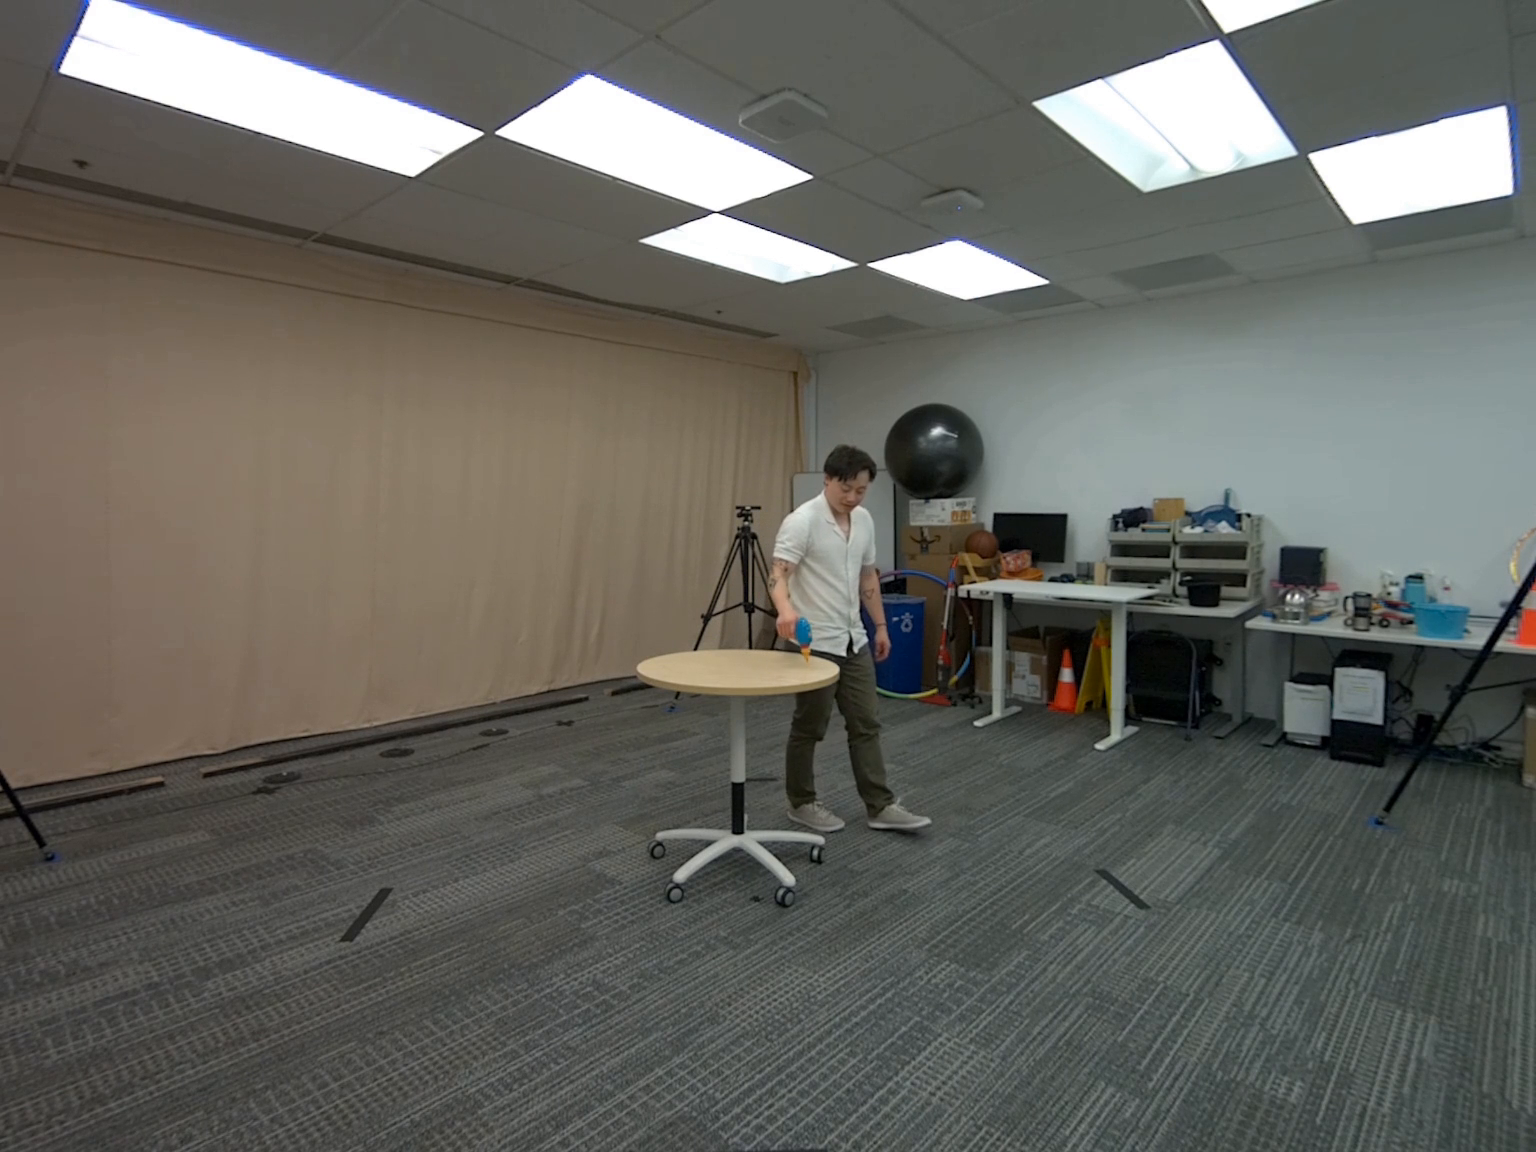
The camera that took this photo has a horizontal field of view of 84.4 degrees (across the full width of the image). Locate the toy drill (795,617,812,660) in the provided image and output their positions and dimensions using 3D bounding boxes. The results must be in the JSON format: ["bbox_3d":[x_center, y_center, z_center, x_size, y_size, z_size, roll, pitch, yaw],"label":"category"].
[{"bbox_3d":[0.111,0.240,3.188,0.059,0.170,0.150,-6,-1,-42],"label":"toy drill"}]
